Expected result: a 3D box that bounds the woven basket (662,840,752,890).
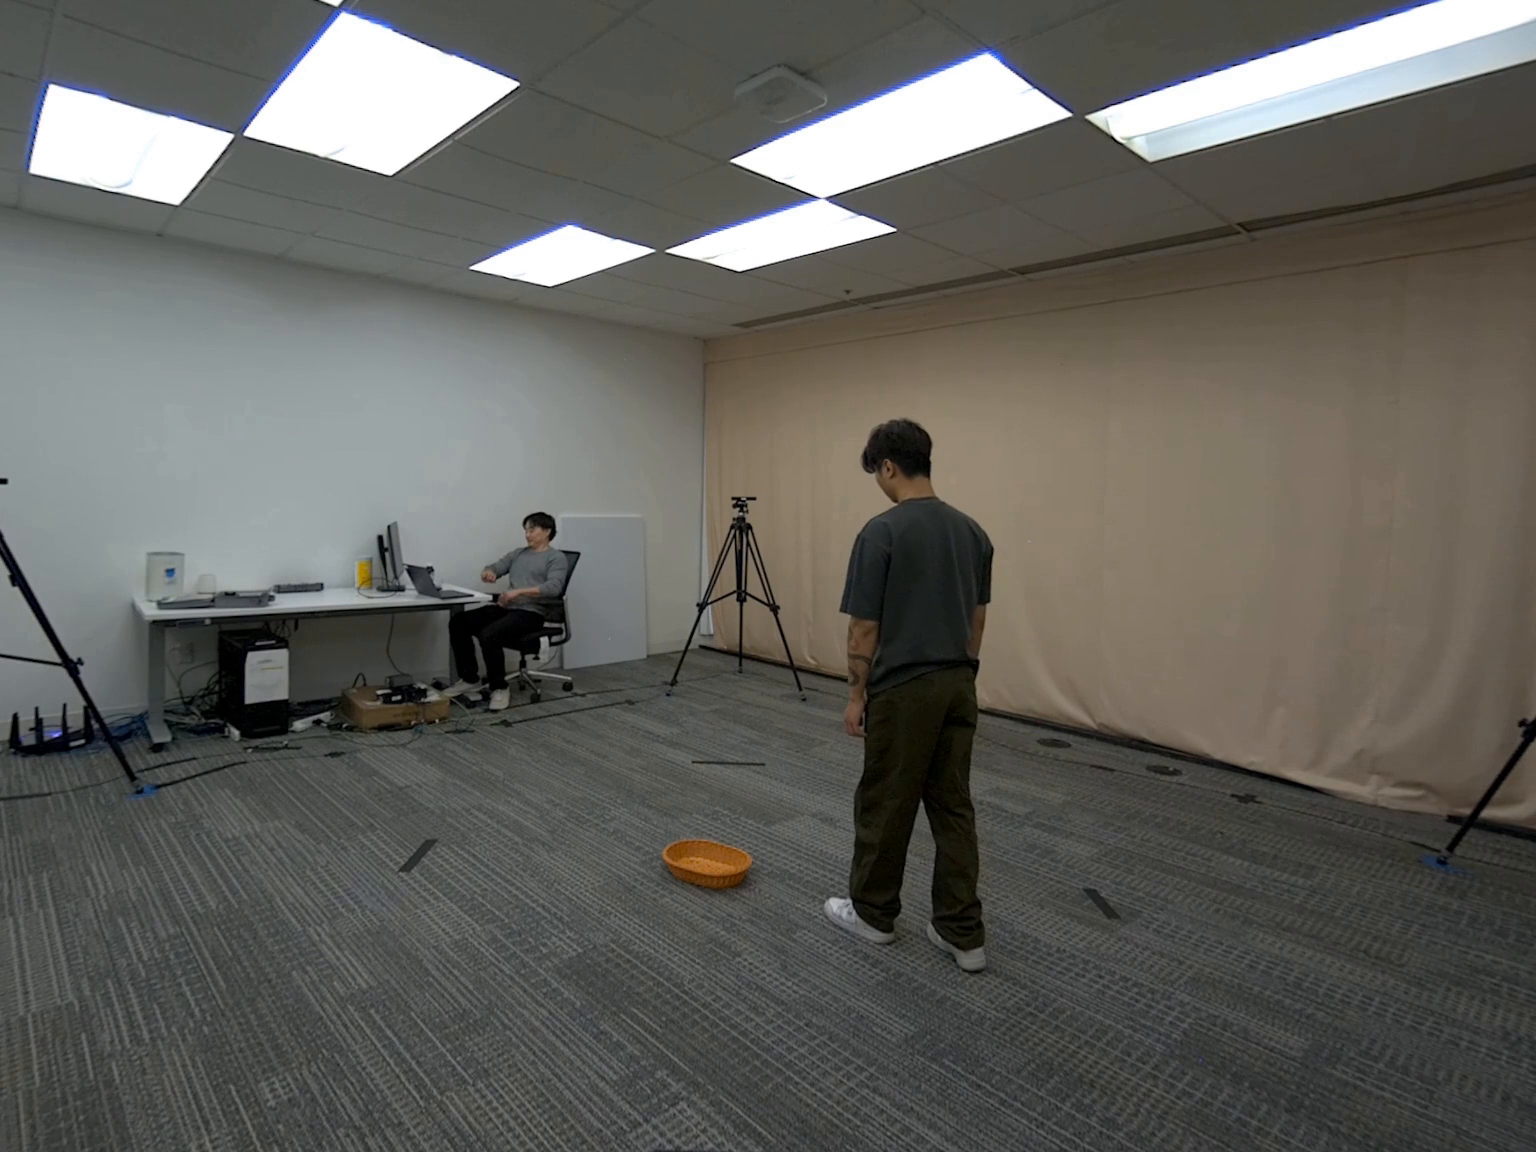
[{"bbox_3d":[-0.236,1.064,3.107,0.358,0.073,0.247,5,7,32],"label":"woven basket"}]
